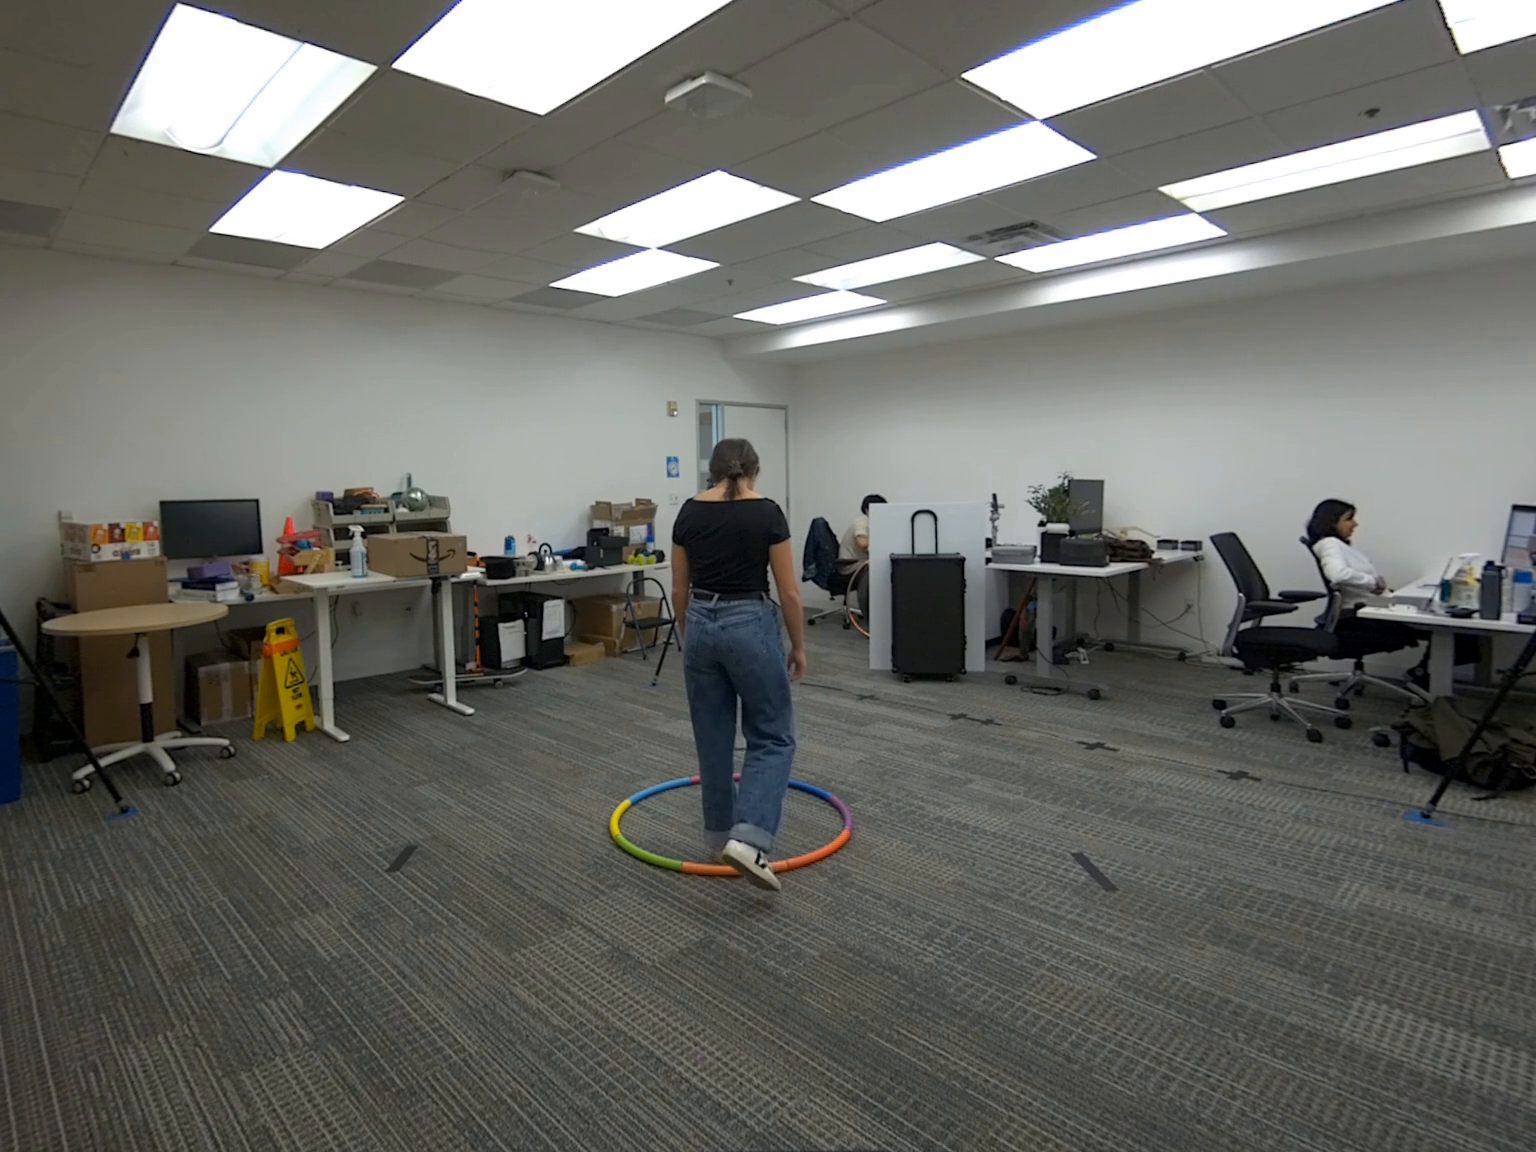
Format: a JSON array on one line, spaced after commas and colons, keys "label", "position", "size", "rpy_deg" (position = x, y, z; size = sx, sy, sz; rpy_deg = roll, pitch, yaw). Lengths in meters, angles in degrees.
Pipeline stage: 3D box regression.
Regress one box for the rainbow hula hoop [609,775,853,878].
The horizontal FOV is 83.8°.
[{"label": "rainbow hula hoop", "position": [-0.154, 0.975, 3.488], "size": [0.978, 0.035, 0.984], "rpy_deg": [-1, 7, -2]}]
